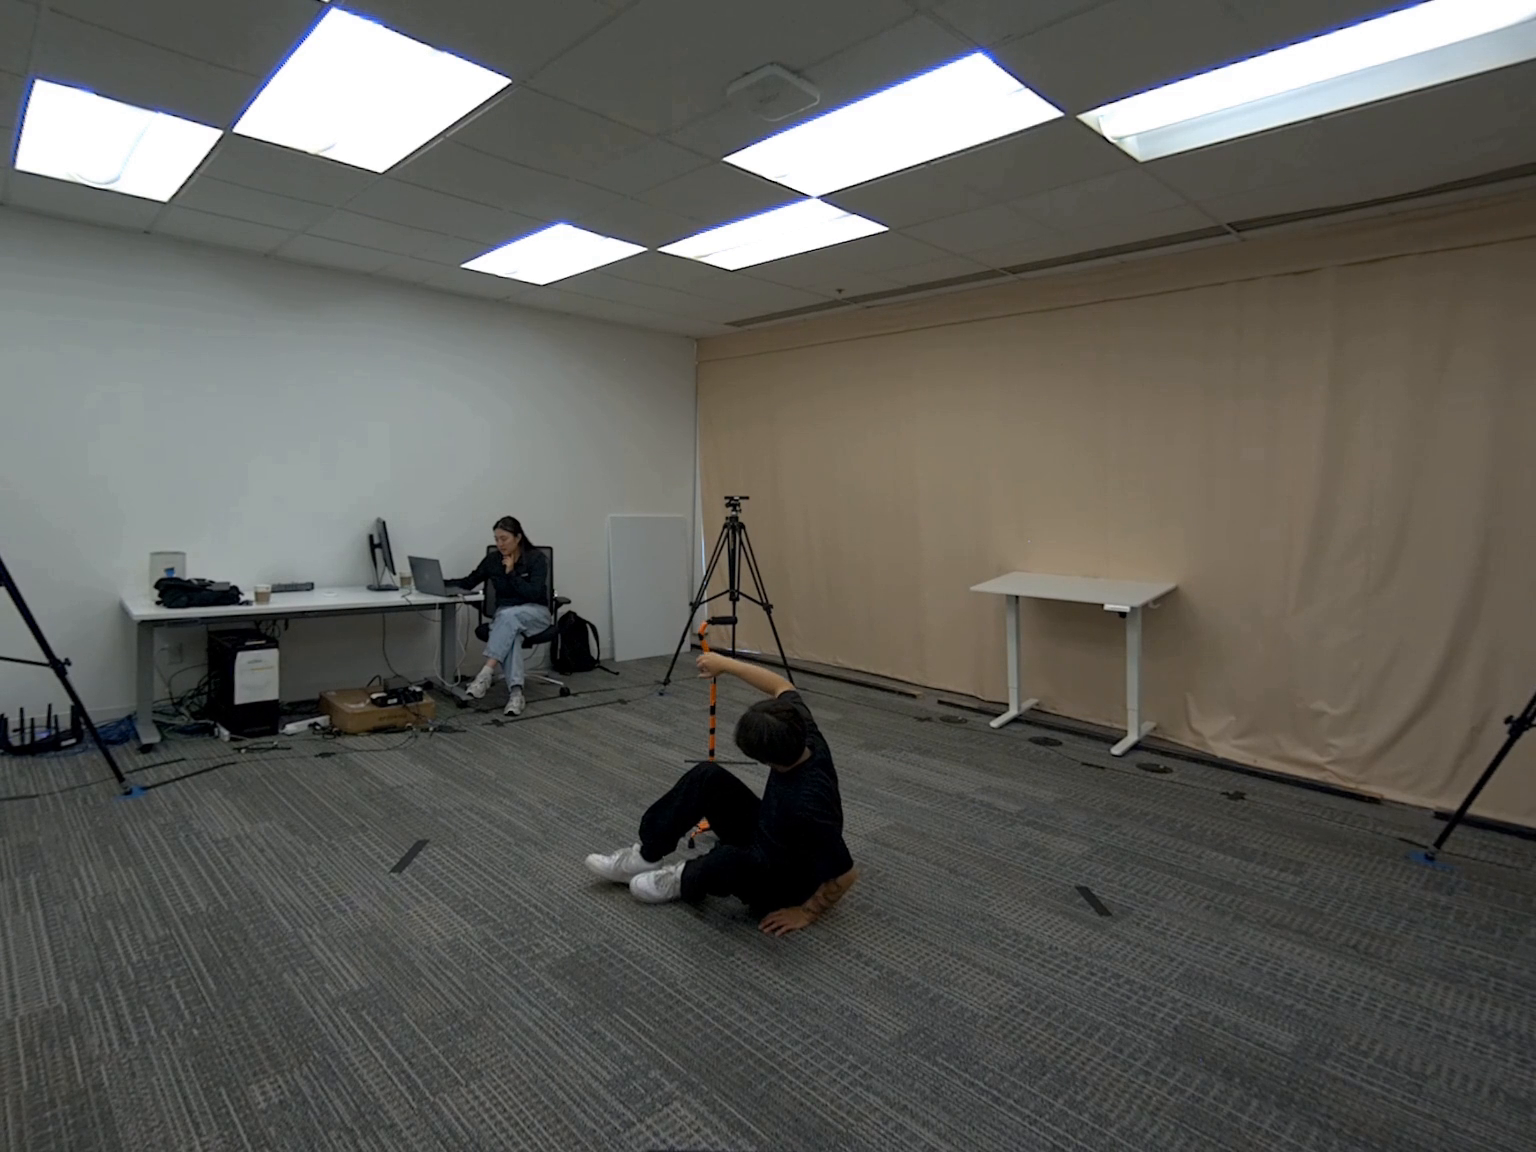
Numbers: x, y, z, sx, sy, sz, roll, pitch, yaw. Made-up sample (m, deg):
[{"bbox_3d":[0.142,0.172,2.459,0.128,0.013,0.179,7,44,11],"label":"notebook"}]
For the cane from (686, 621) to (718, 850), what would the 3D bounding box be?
[{"bbox_3d":[-0.241,0.622,3.406,0.203,0.906,0.154,0,3,-22],"label":"cane"}]
